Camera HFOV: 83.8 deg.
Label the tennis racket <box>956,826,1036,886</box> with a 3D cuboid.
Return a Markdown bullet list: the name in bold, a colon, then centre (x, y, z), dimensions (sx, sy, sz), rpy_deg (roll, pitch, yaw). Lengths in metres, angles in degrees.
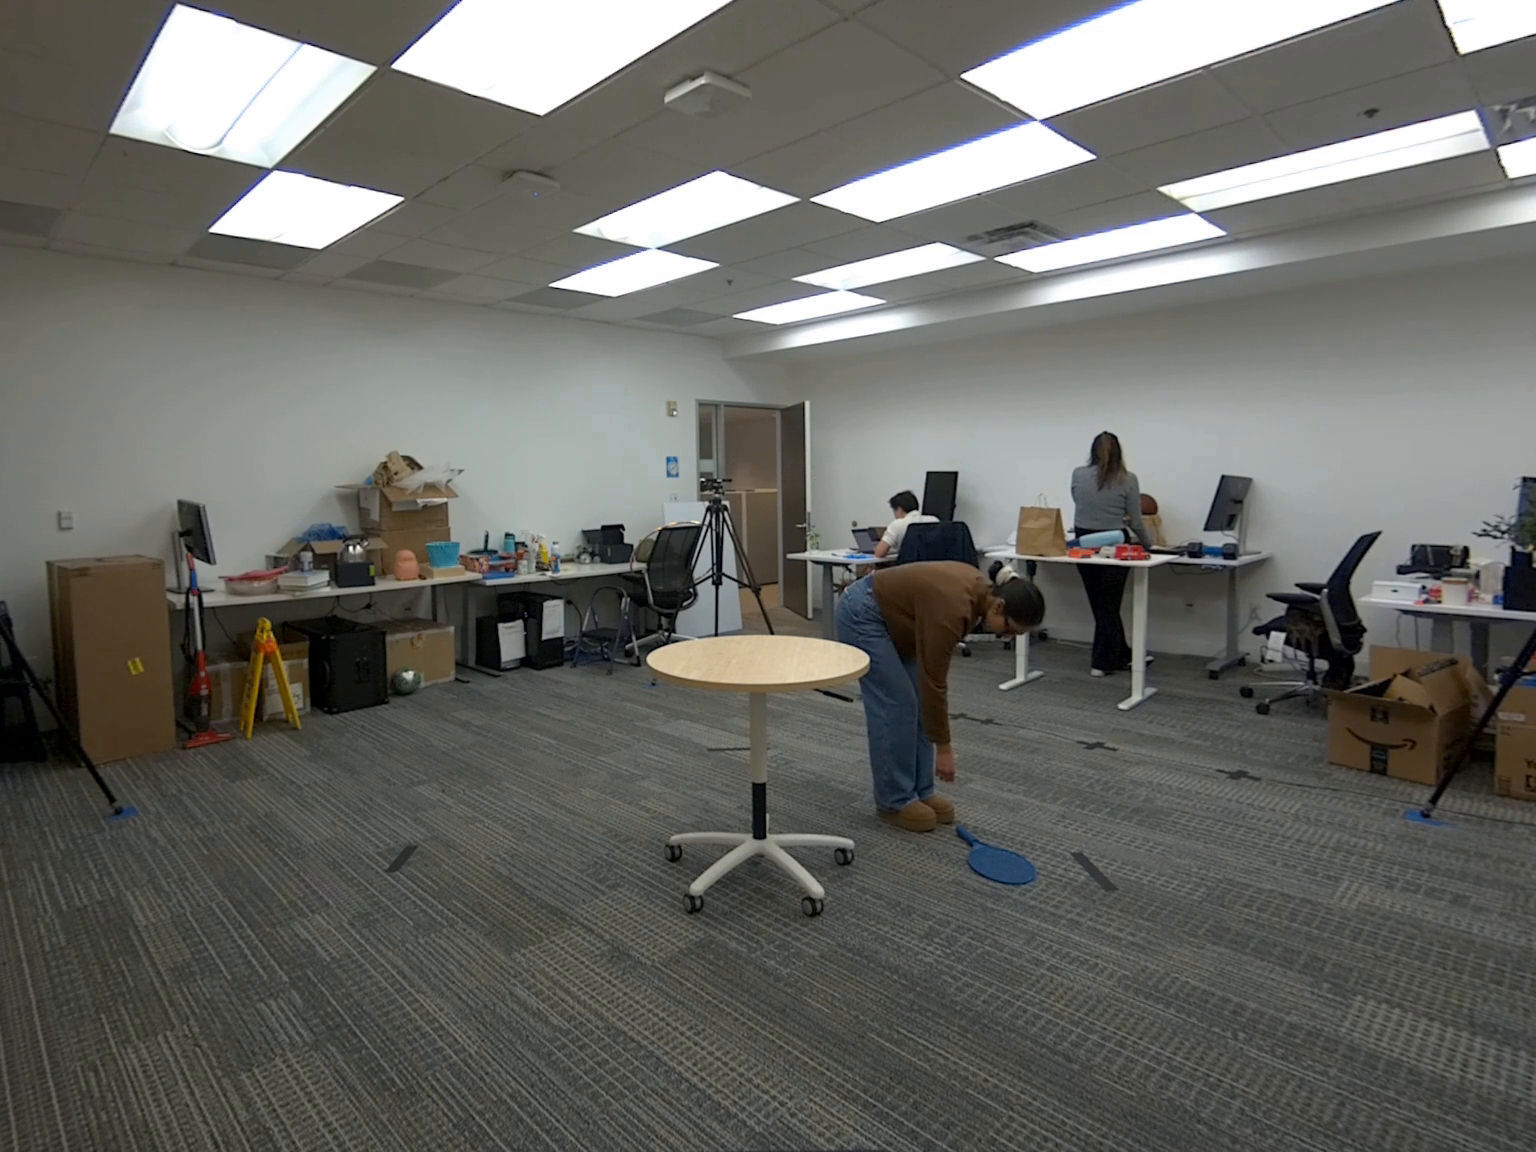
- **tennis racket**: centre (0.814, 1.019, 3.123), dimensions (0.211, 0.031, 0.440), rpy_deg (-2, 7, -14)
